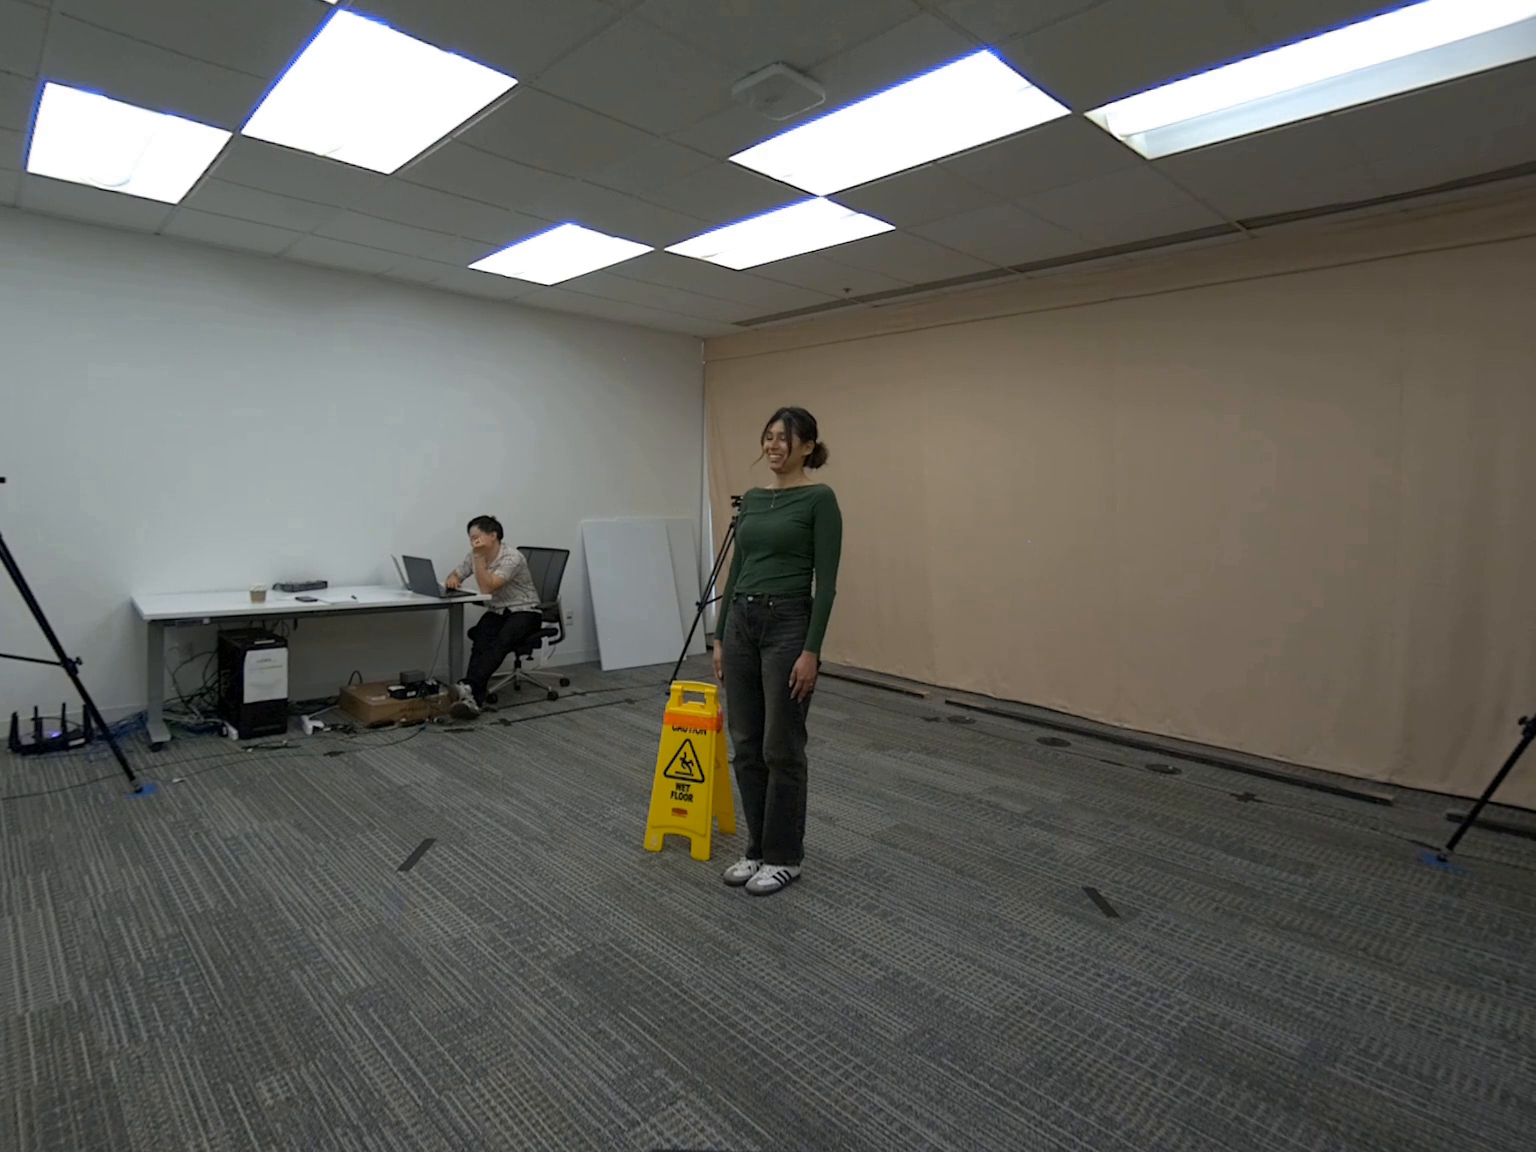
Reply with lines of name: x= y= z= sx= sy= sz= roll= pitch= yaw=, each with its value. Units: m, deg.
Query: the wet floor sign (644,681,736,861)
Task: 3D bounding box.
wet floor sign: x=-0.314 y=0.751 z=3.387 sx=0.287 sy=0.644 sz=0.286 roll=2 pitch=3 yaw=20
